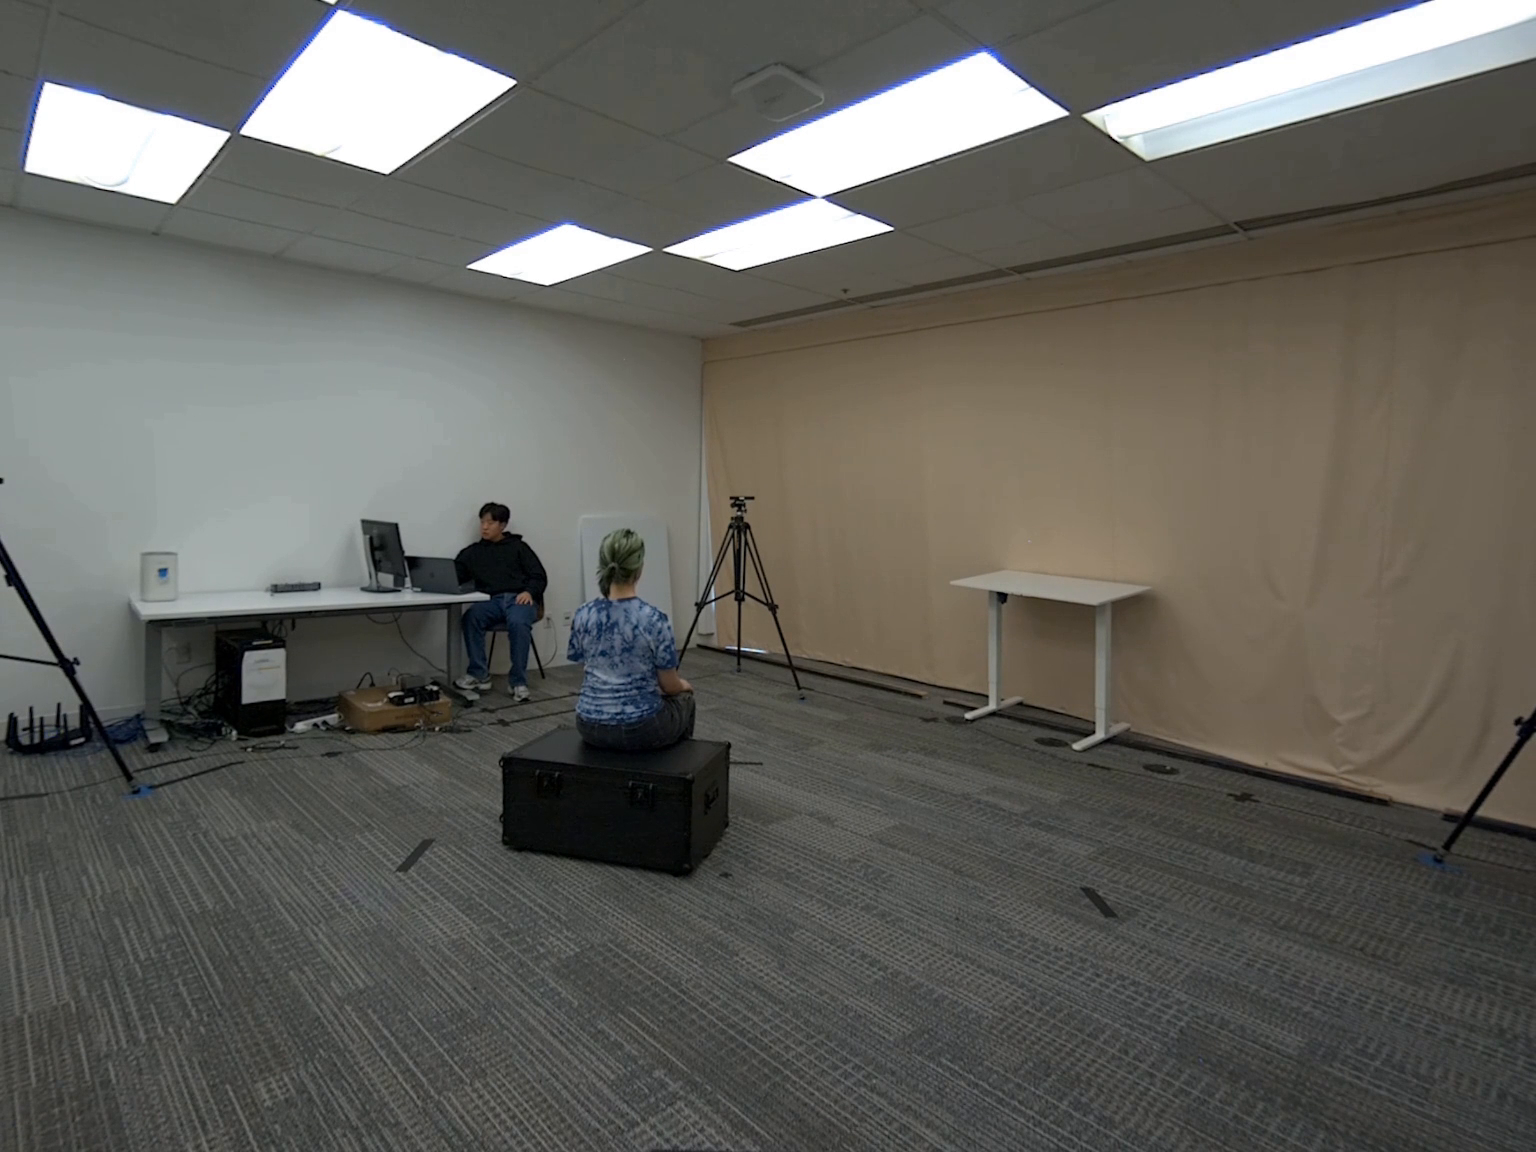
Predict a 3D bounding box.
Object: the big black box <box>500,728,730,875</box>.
[{"bbox_3d":[-0.632,0.876,3.389,0.872,0.395,0.516,3,5,15],"label":"big black box"}]
